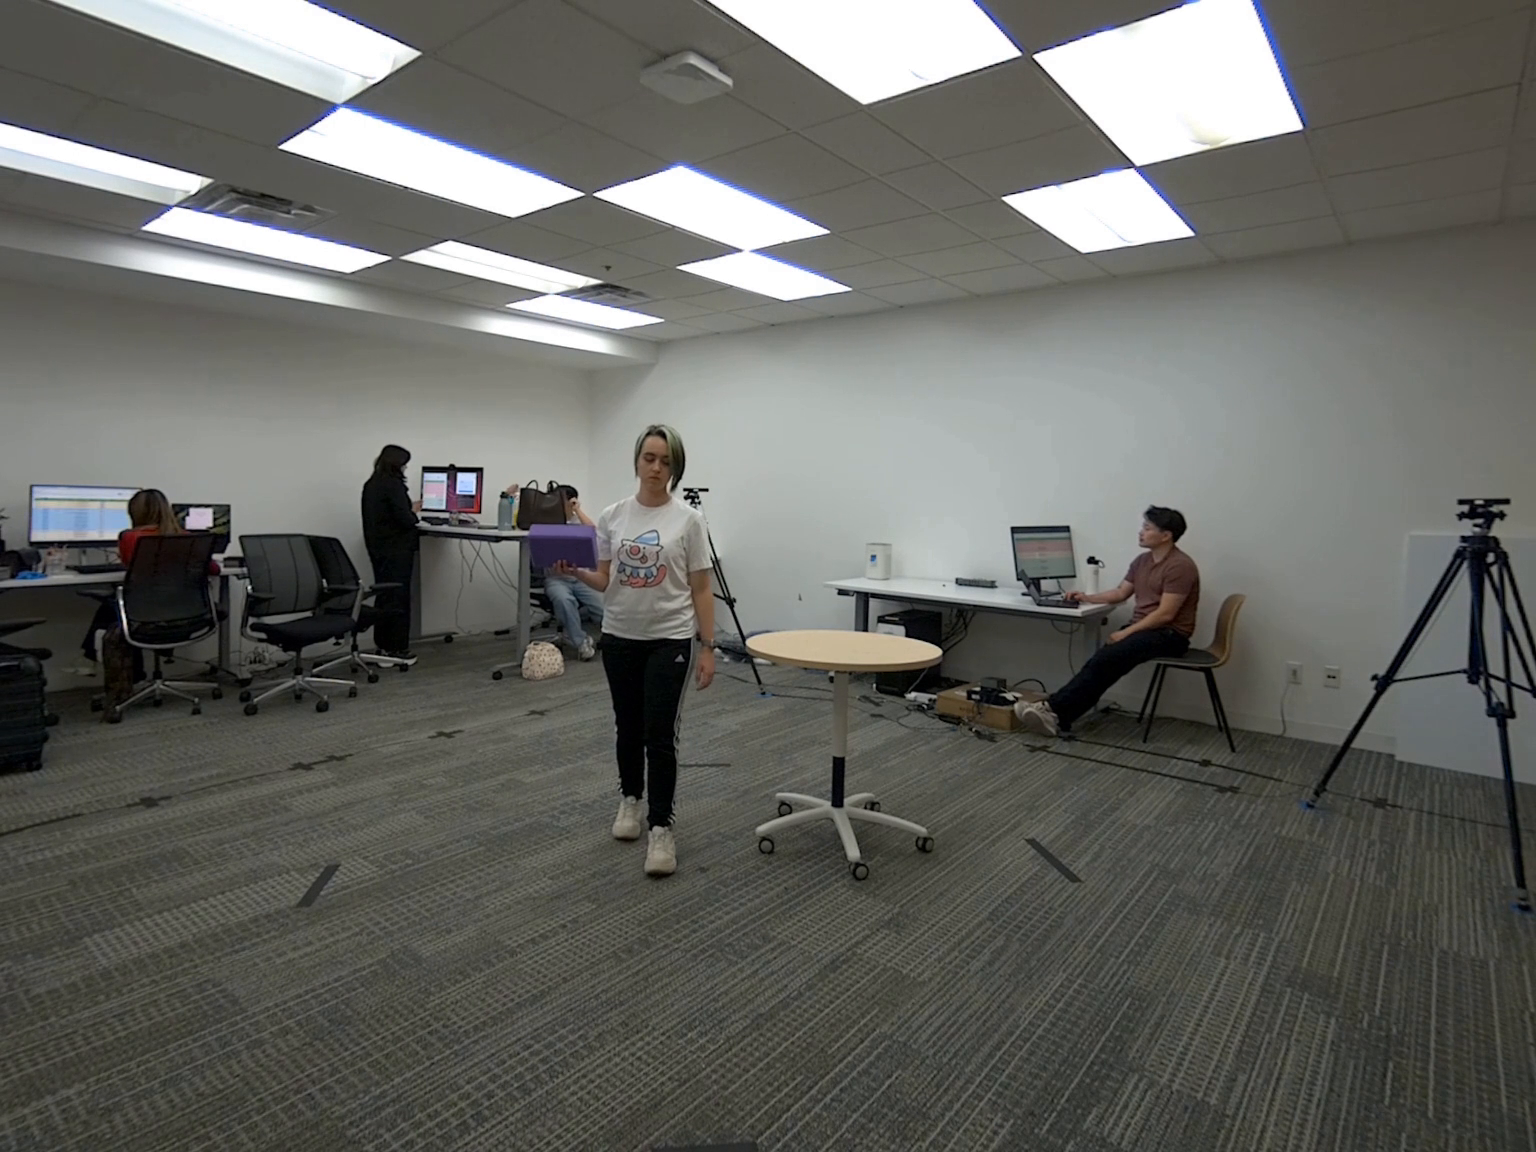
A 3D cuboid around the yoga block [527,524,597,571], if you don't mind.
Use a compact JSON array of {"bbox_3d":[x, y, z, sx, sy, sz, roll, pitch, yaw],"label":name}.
[{"bbox_3d":[-0.741,-0.106,3.012,0.230,0.145,0.078,1,40,2],"label":"yoga block"}]
